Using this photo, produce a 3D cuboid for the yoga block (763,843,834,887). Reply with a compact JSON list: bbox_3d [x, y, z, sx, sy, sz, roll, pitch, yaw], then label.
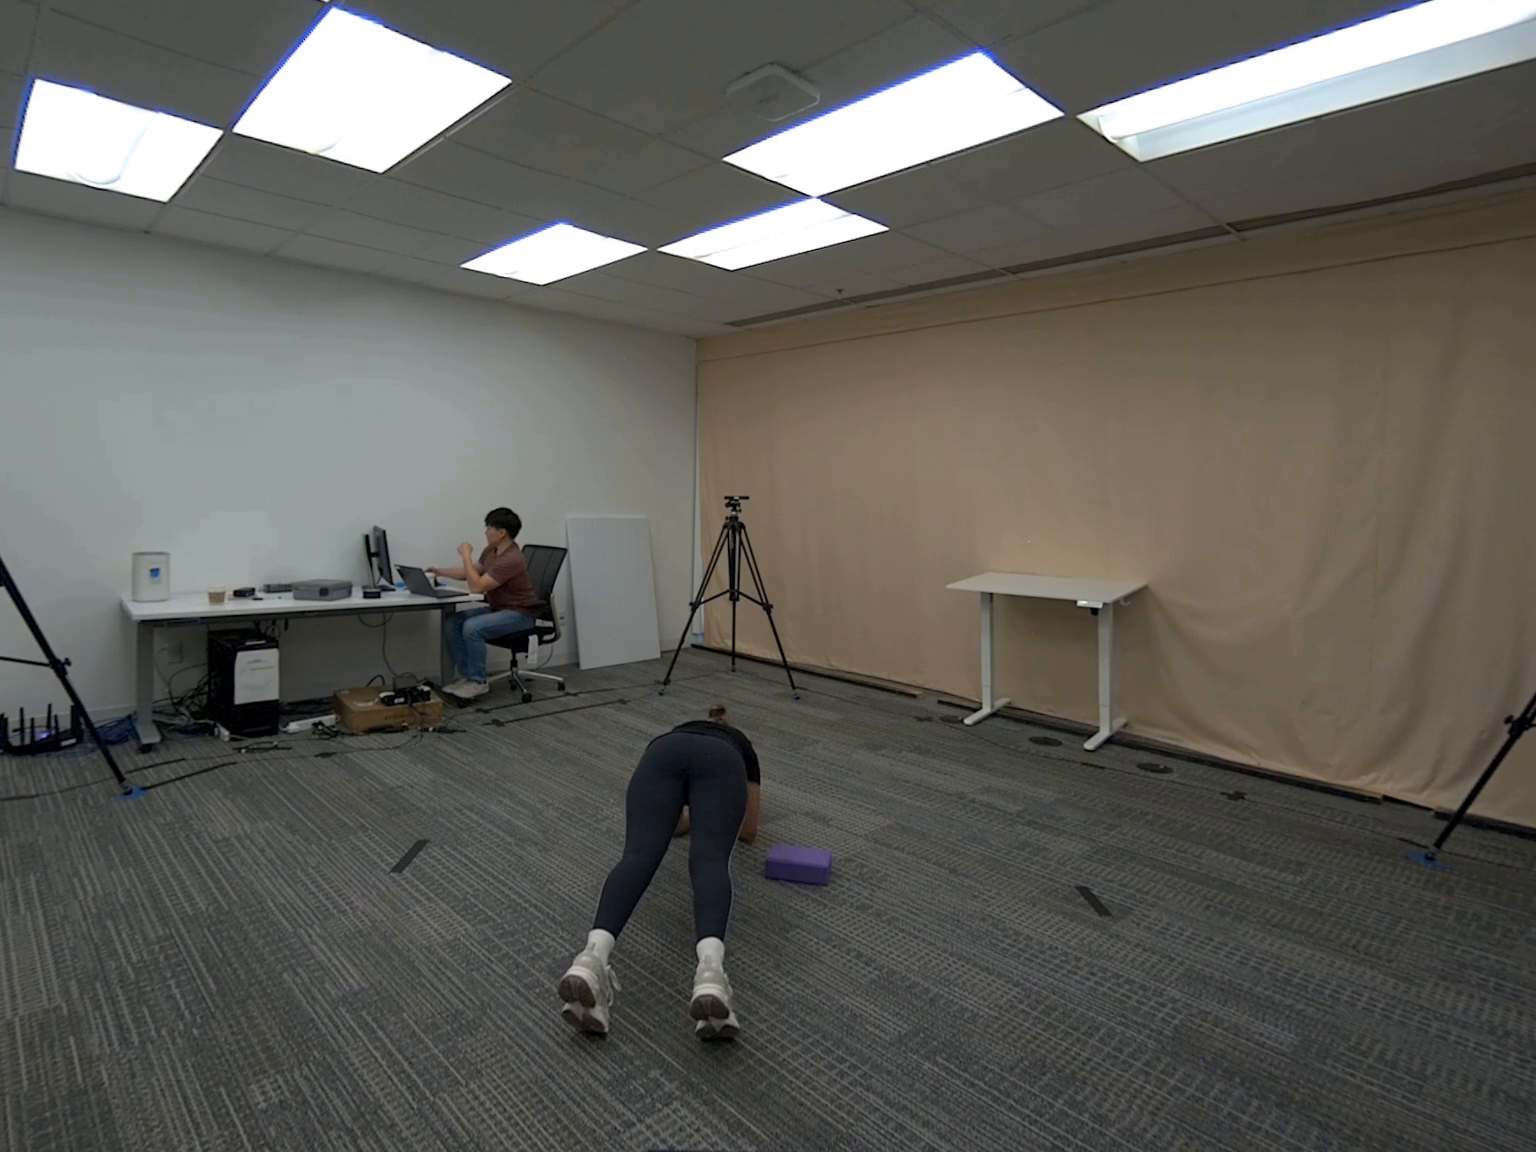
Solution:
[{"bbox_3d":[0.107,1.061,3.117,0.232,0.076,0.148,0,5,13],"label":"yoga block"}]
